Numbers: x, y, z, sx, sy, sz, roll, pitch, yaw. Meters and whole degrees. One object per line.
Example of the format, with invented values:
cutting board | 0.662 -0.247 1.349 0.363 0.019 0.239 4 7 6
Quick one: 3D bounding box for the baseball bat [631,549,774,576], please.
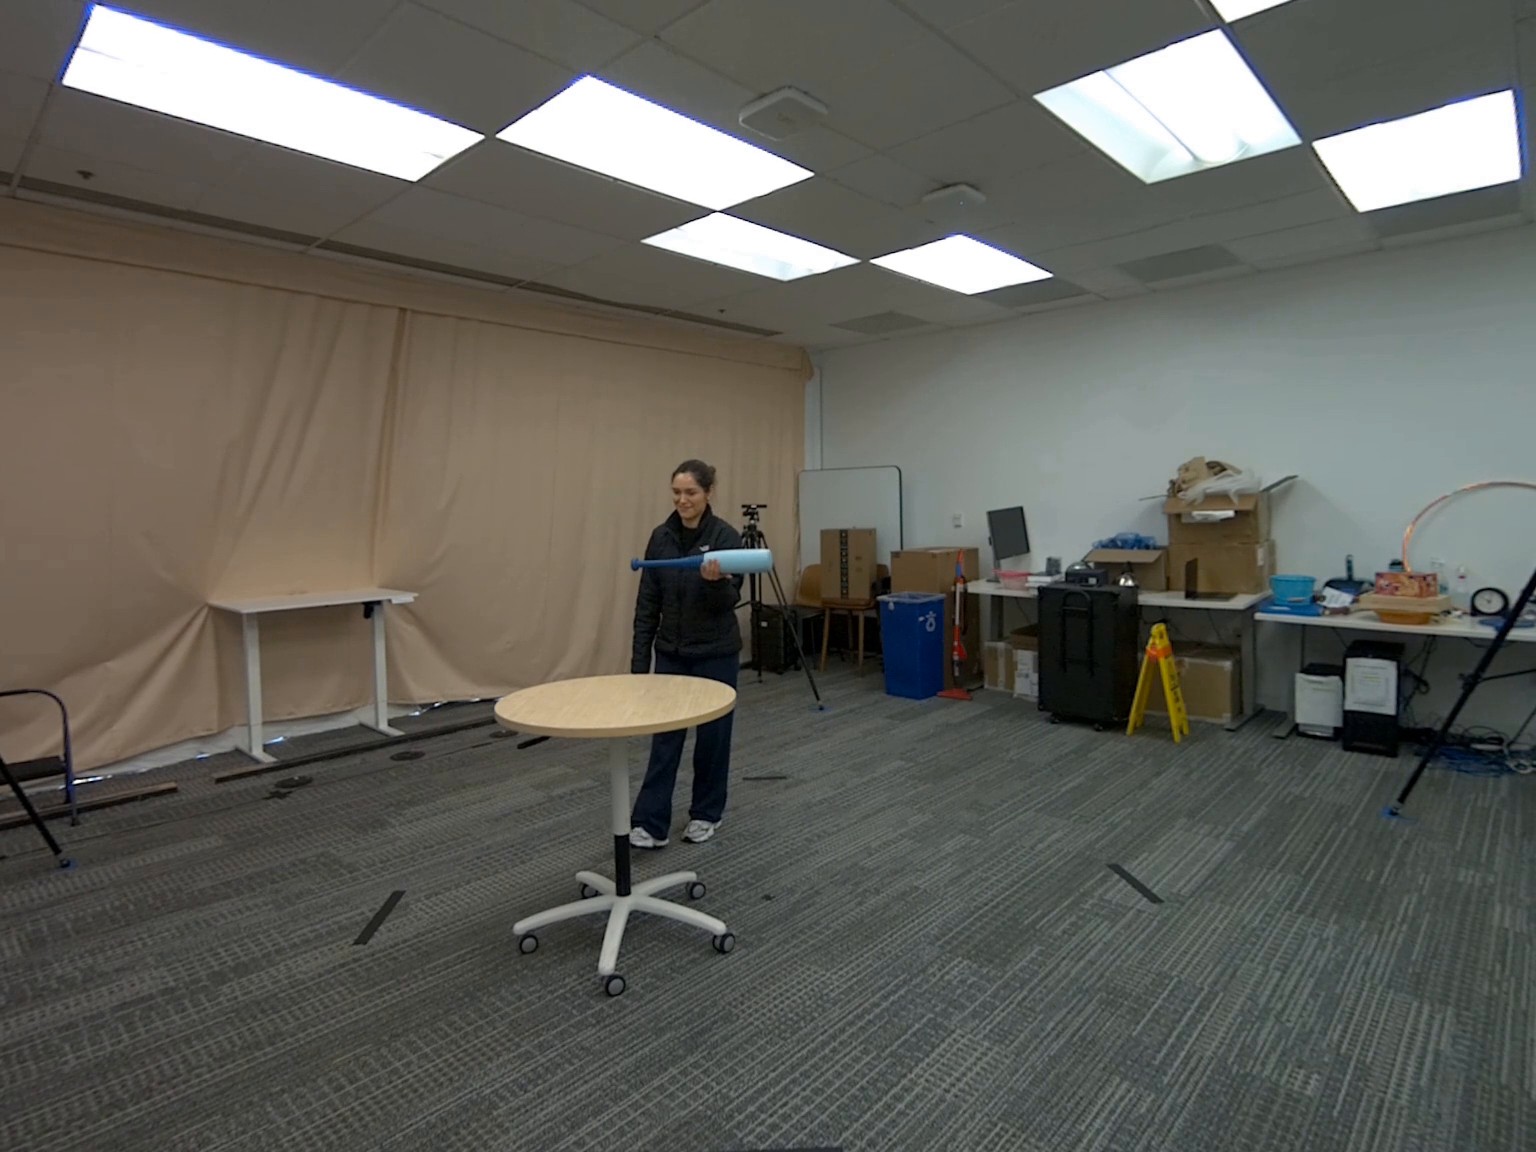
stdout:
baseball bat | -0.272 -0.047 3.150 0.550 0.089 0.088 -2 4 12
